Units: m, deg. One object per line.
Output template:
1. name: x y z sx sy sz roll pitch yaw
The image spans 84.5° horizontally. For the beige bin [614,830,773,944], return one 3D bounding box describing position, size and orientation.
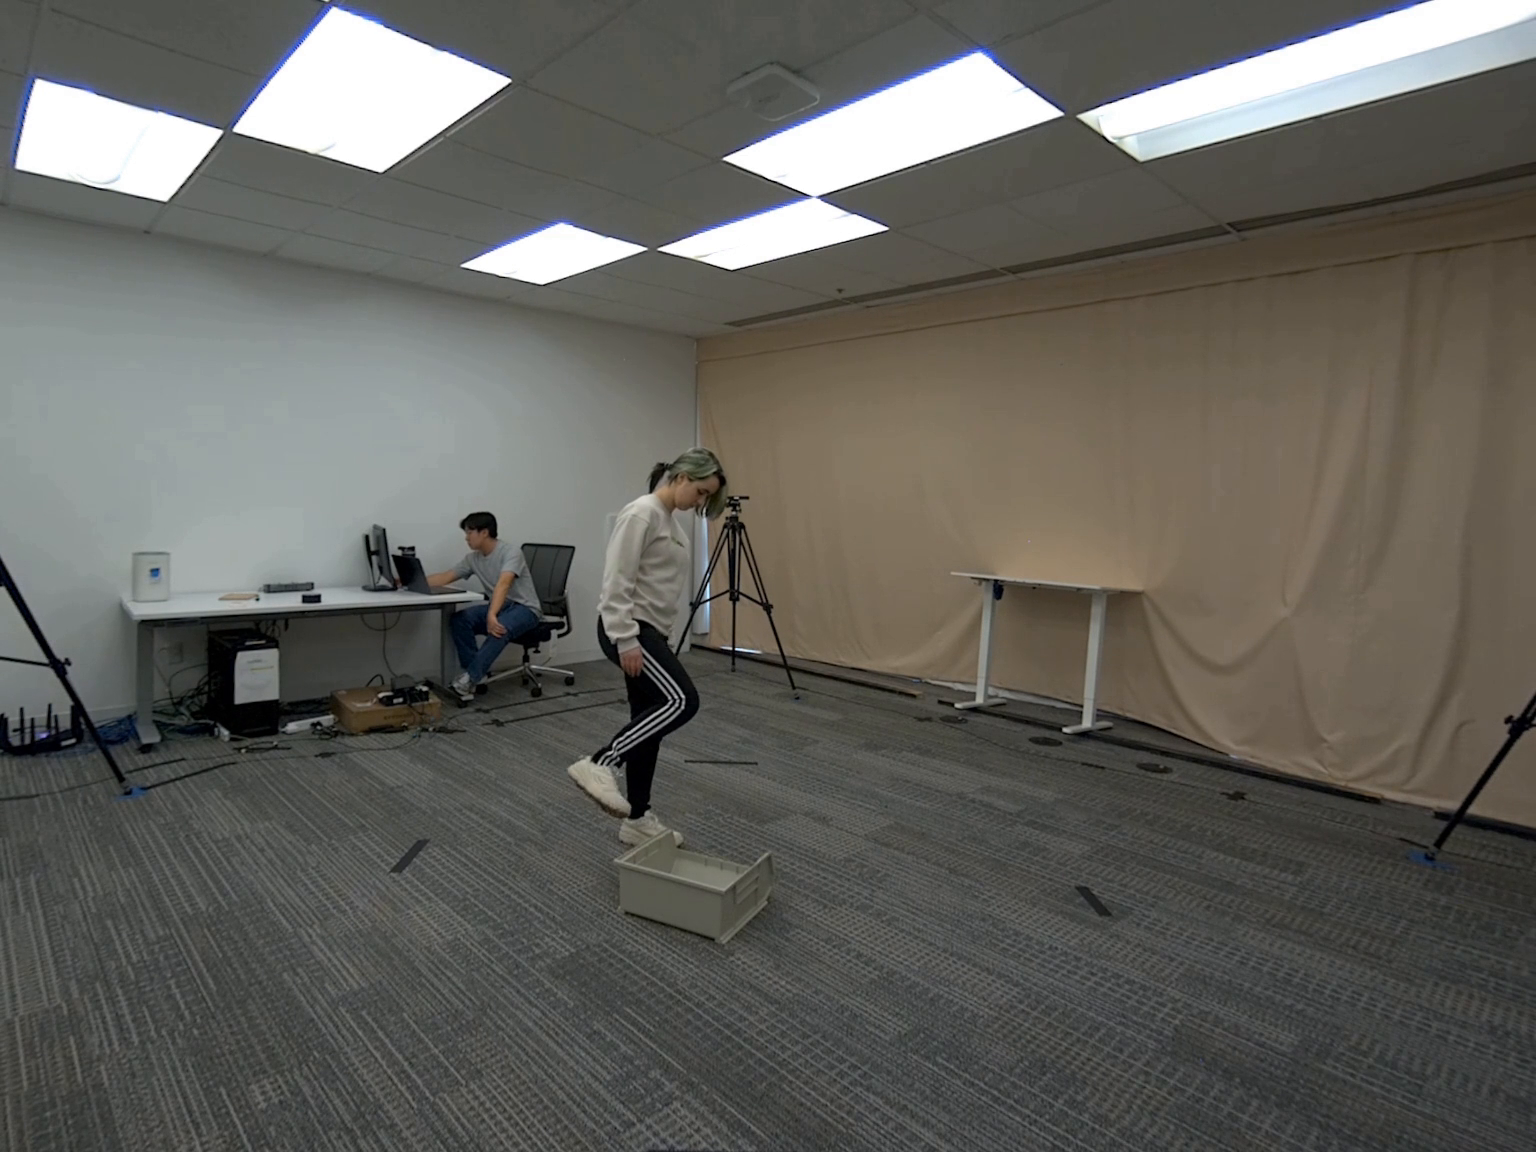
1. beige bin: -0.249 1.035 2.862 0.431 0.188 0.371 4 6 27
